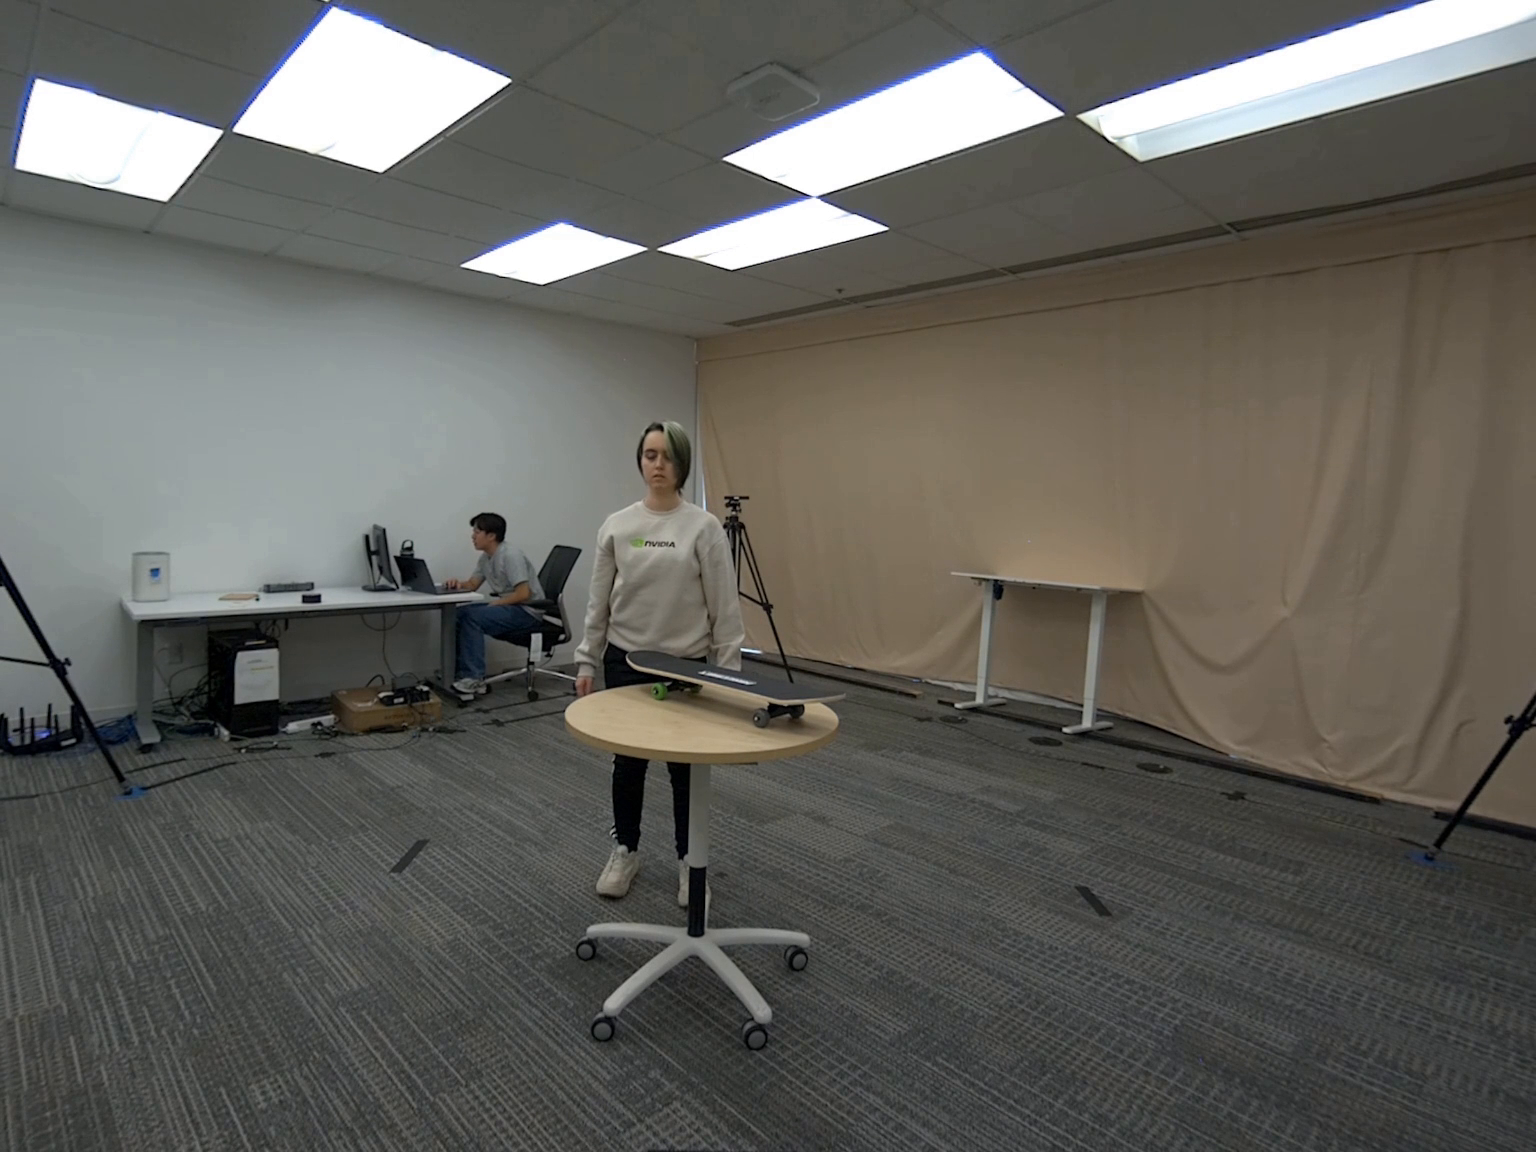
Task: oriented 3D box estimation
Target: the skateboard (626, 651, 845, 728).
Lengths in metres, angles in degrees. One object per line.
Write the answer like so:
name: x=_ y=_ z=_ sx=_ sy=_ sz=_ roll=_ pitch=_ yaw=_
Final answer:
skateboard: x=-0.136 y=0.335 z=2.423 sx=0.806 sy=0.110 sz=0.189 roll=7 pitch=5 yaw=42
